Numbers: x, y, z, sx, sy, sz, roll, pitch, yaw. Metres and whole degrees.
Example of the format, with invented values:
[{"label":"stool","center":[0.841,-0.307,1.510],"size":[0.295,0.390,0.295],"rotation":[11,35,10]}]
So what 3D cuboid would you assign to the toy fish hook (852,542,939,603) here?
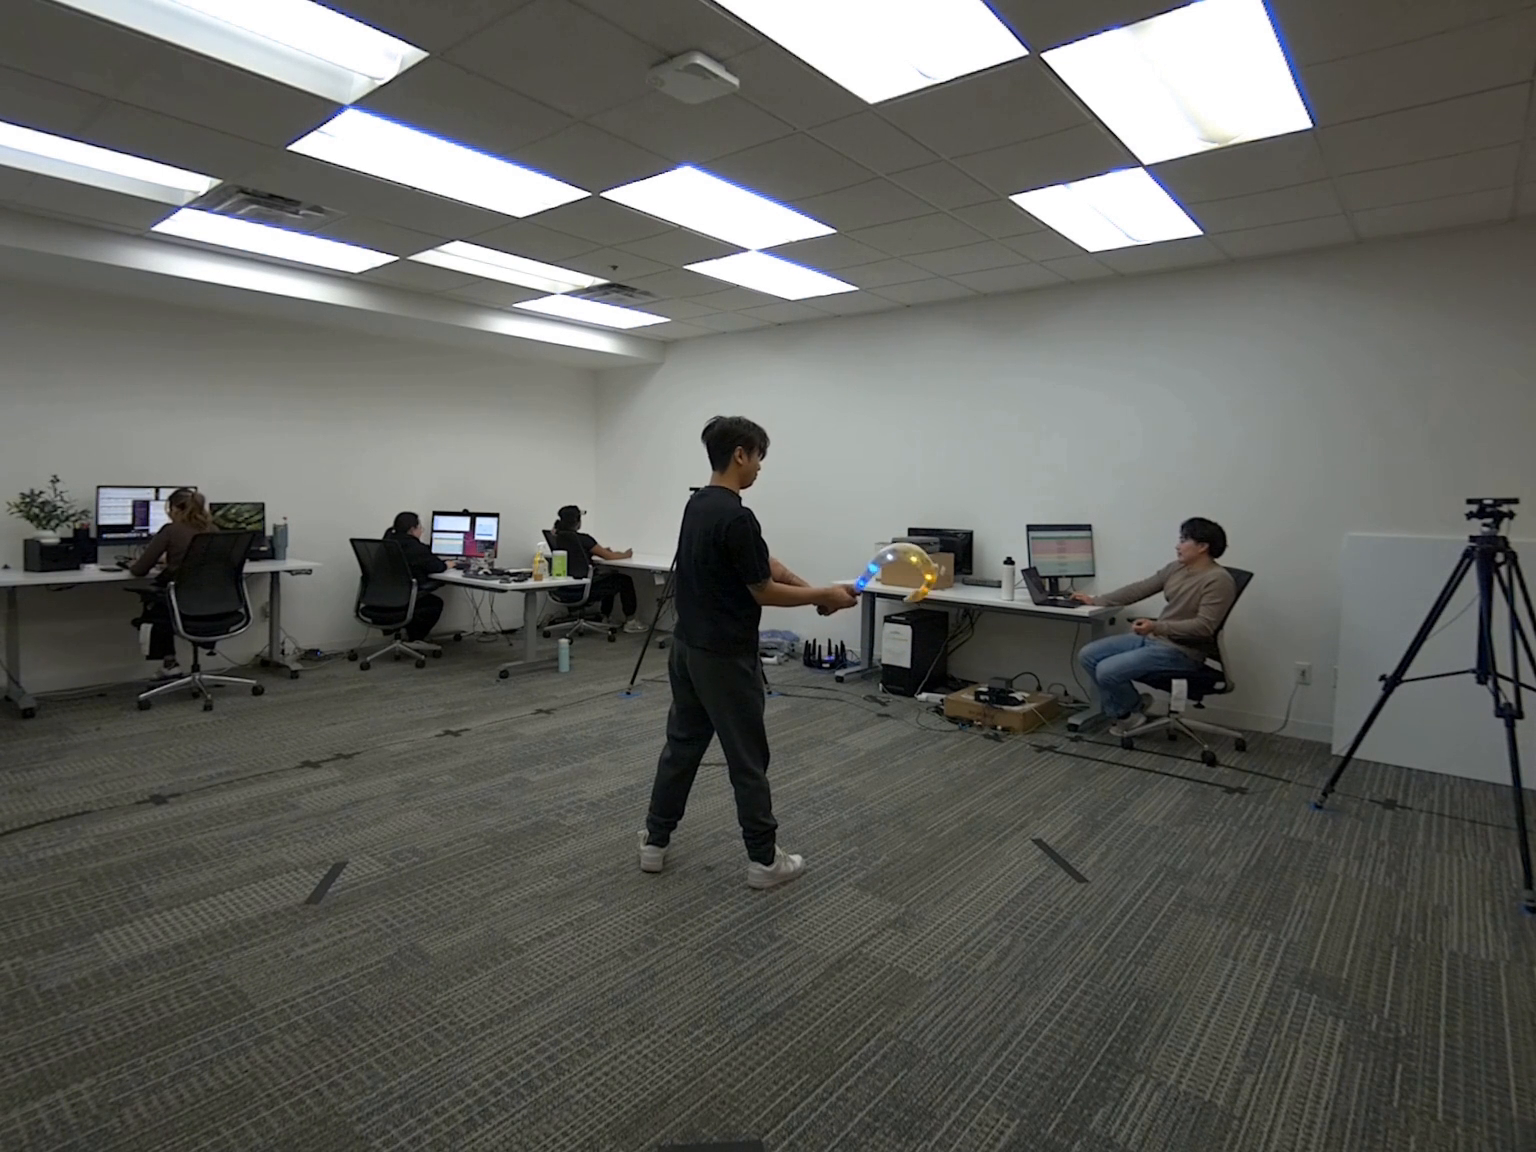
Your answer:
[{"label":"toy fish hook","center":[0.367,0.057,2.975],"size":[0.510,0.223,0.048],"rotation":[-37,5,40]}]
